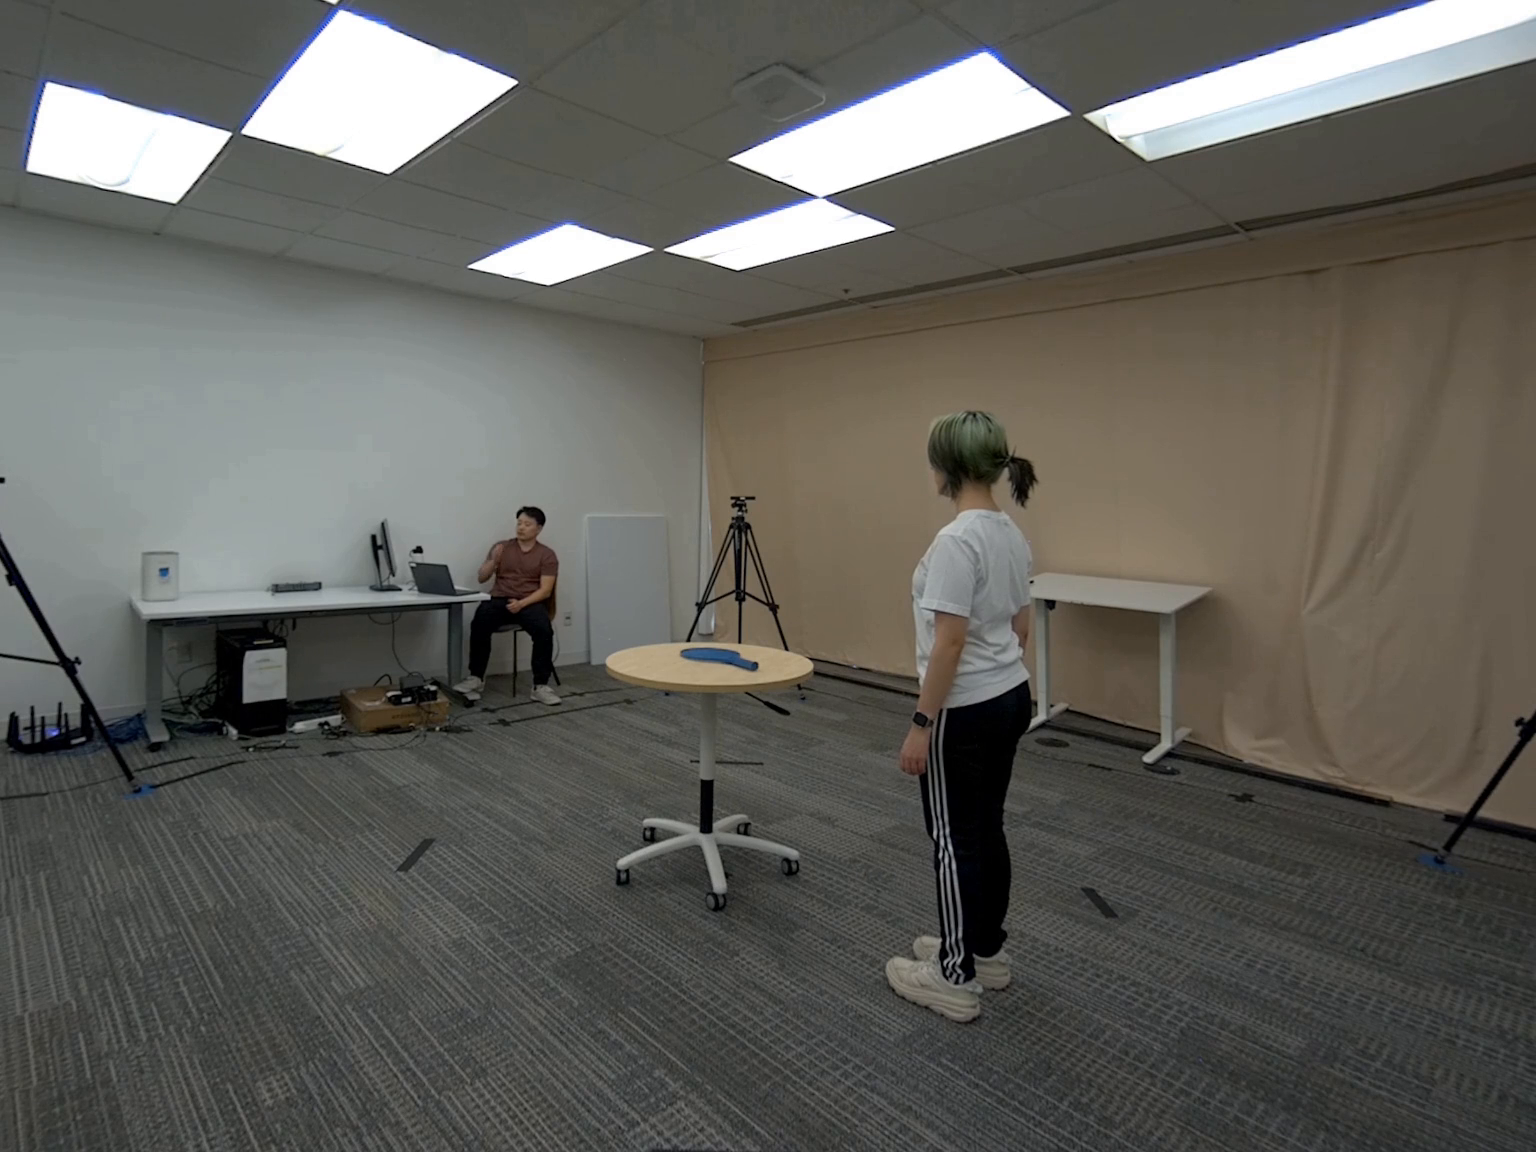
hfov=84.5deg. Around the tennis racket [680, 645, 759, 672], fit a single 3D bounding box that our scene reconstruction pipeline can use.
[{"bbox_3d":[-0.182,0.309,3.136,0.209,0.031,0.443,-3,6,-31],"label":"tennis racket"}]
